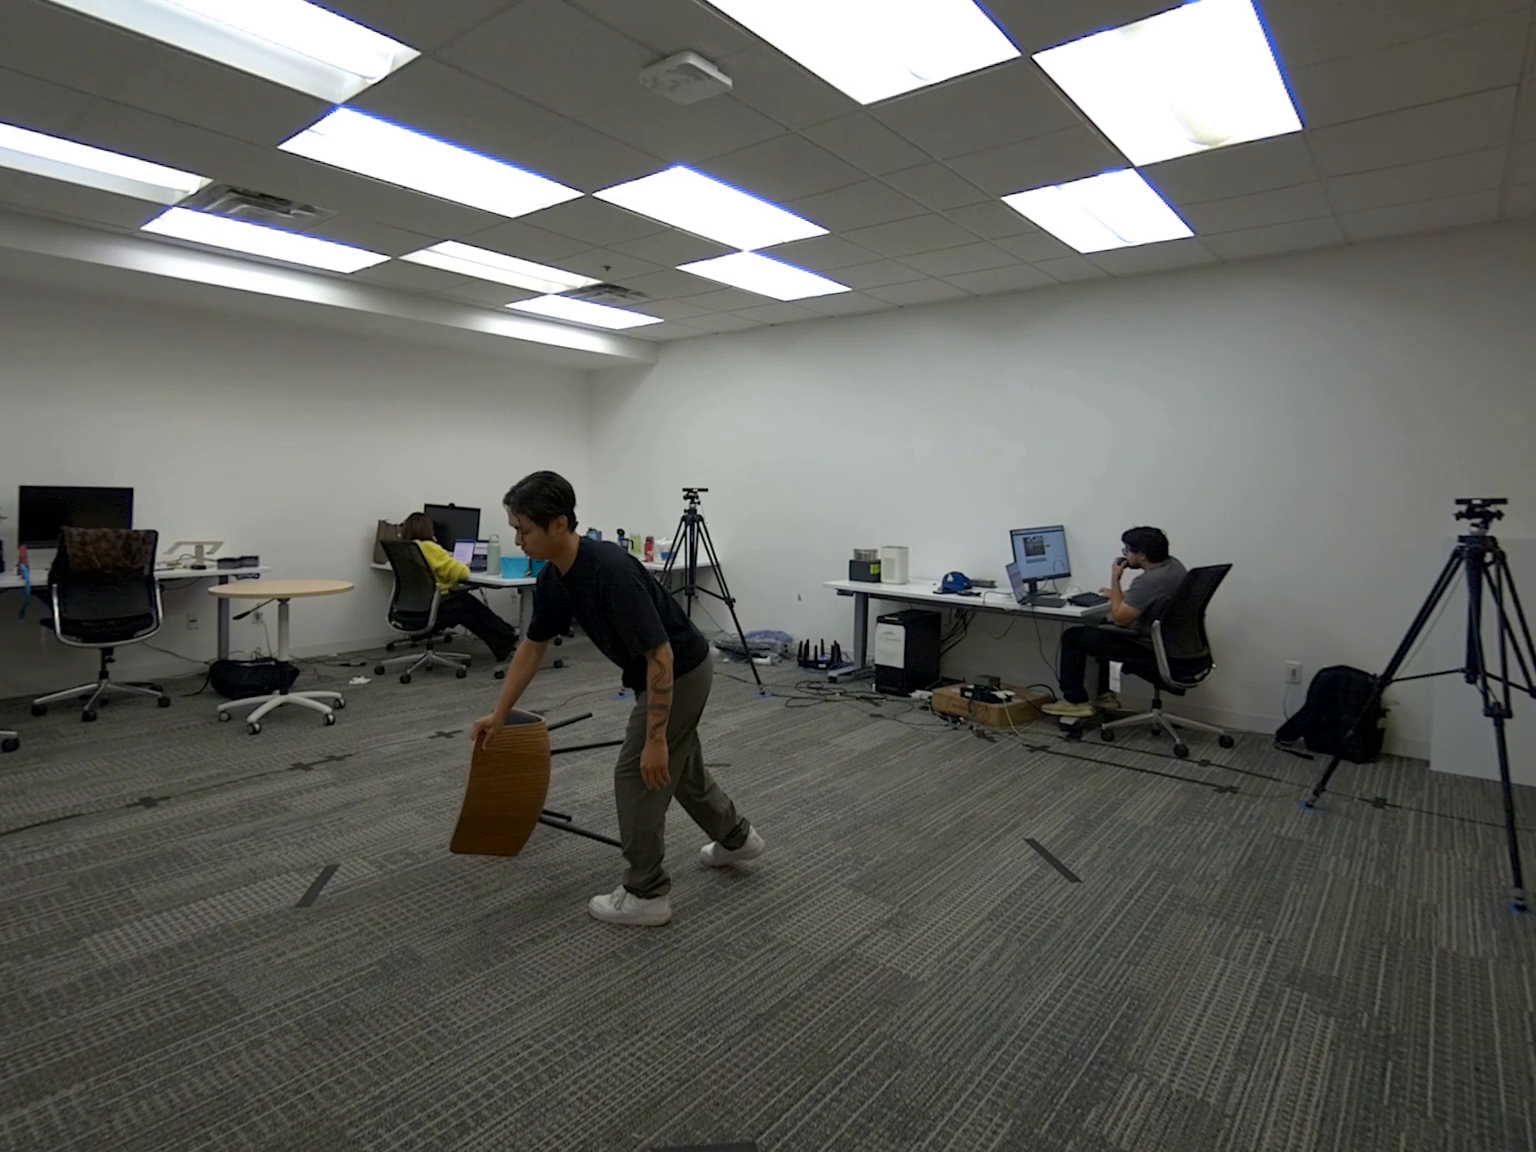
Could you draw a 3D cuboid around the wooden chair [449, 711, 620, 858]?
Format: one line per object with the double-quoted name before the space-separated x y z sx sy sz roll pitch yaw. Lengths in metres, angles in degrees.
"wooden chair" -0.908 0.740 3.126 0.541 0.480 0.844 6 -6 39
